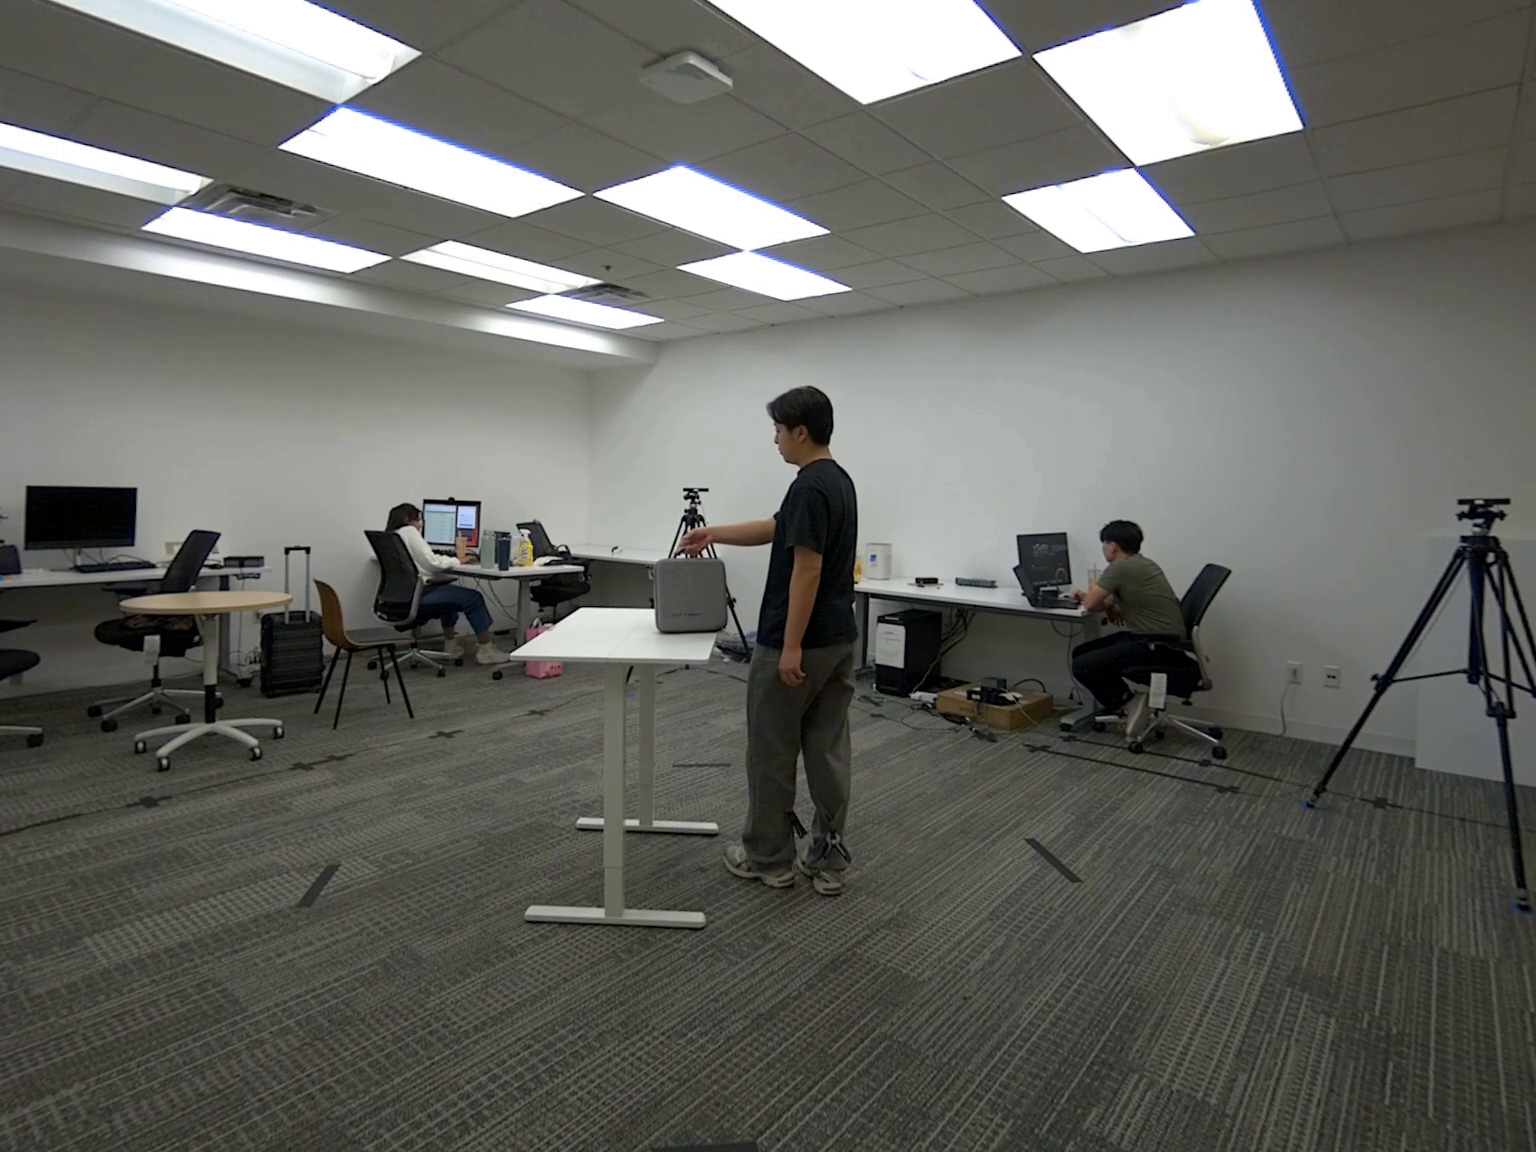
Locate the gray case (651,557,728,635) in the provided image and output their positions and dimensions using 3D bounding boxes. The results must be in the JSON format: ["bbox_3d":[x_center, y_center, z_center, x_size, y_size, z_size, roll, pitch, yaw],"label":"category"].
[{"bbox_3d":[-0.289,0.053,3.021,0.258,0.288,0.104,-1,-5,-17],"label":"gray case"}]
